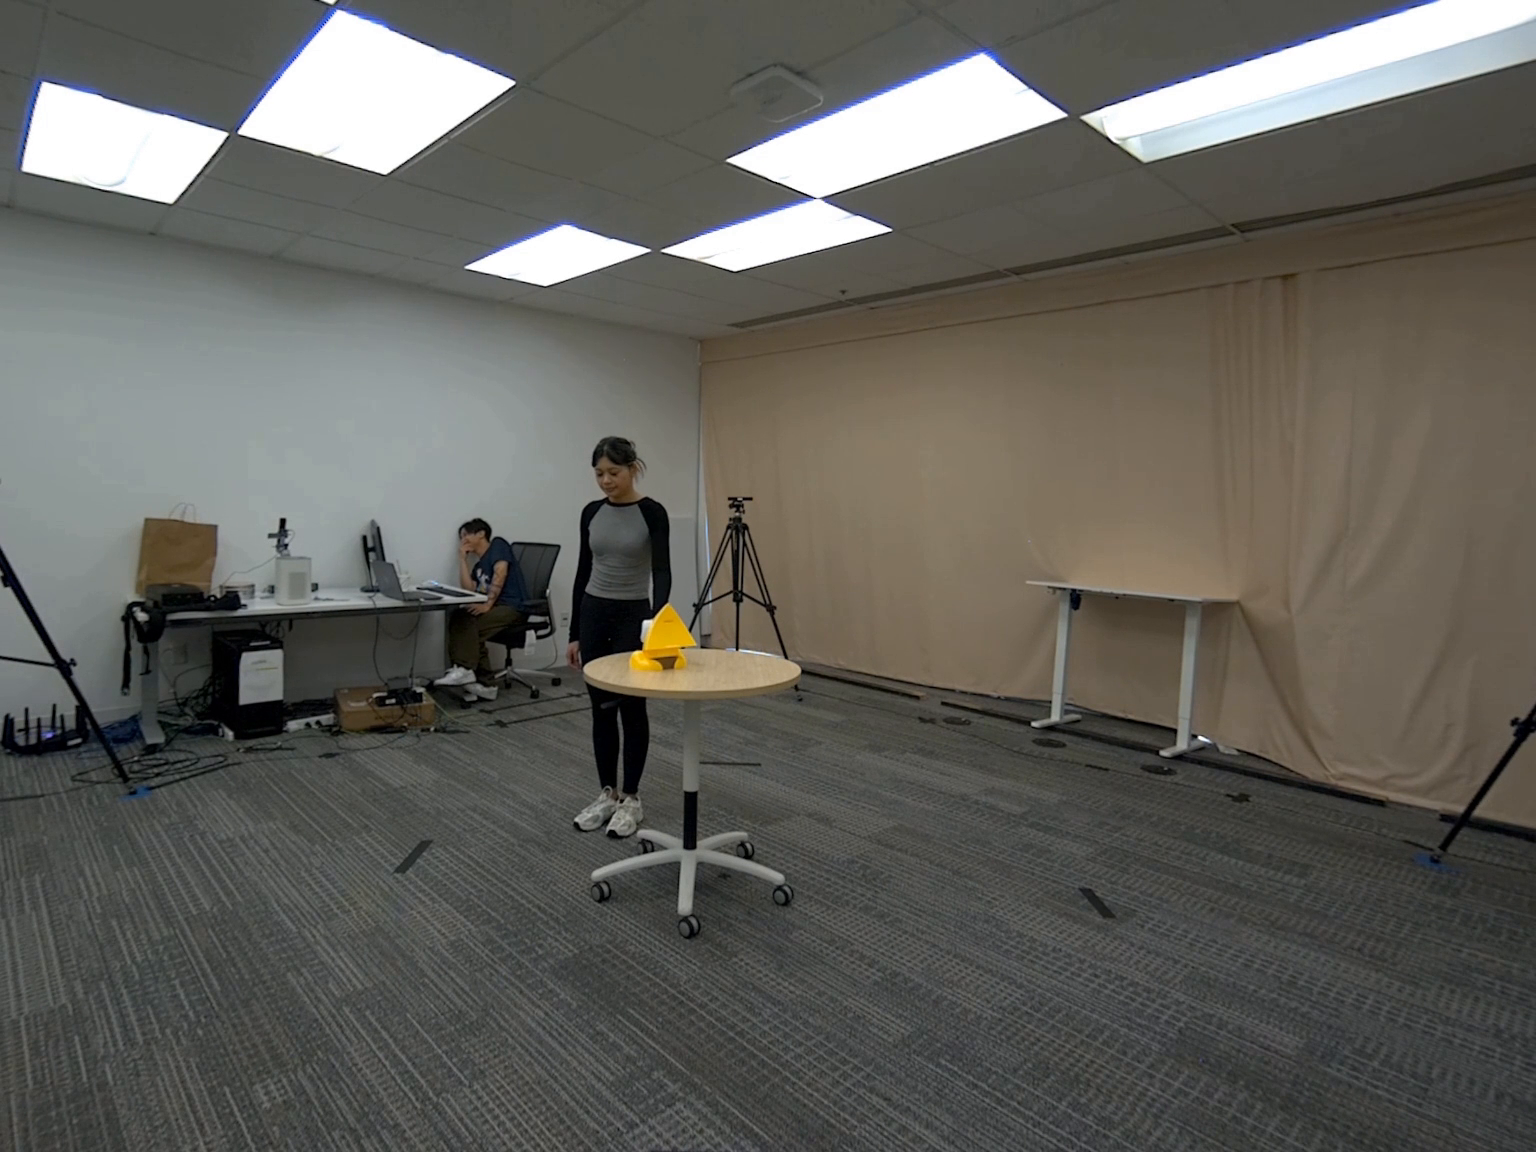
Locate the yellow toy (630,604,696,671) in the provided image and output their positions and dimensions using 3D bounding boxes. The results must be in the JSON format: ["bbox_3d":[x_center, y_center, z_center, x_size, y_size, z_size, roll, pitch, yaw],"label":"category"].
[{"bbox_3d":[-0.394,0.208,2.993,0.200,0.230,0.197,-1,4,-35],"label":"yellow toy"}]
